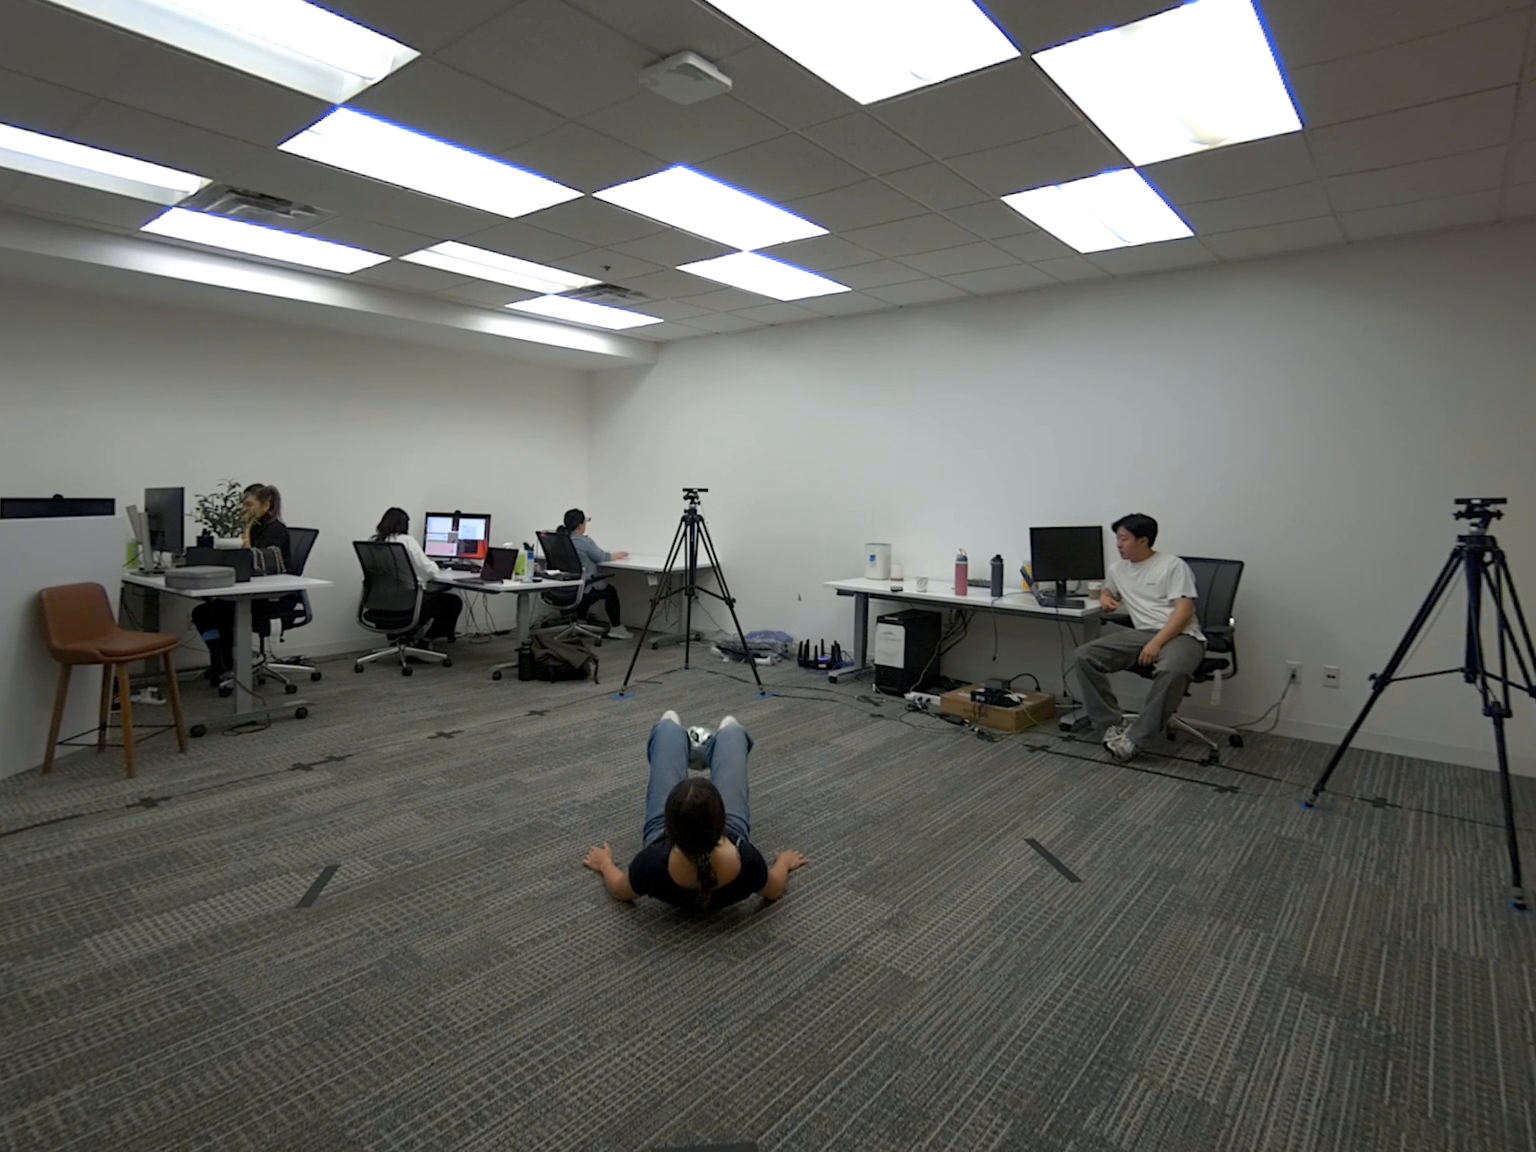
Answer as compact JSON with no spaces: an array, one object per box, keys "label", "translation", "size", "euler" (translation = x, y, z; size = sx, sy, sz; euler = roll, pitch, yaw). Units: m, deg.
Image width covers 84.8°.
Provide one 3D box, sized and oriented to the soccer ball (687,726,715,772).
[{"label":"soccer ball","translation":[-0.298,0.725,3.650],"size":[0.187,0.187,0.188],"euler":[-3,4,-2]}]
